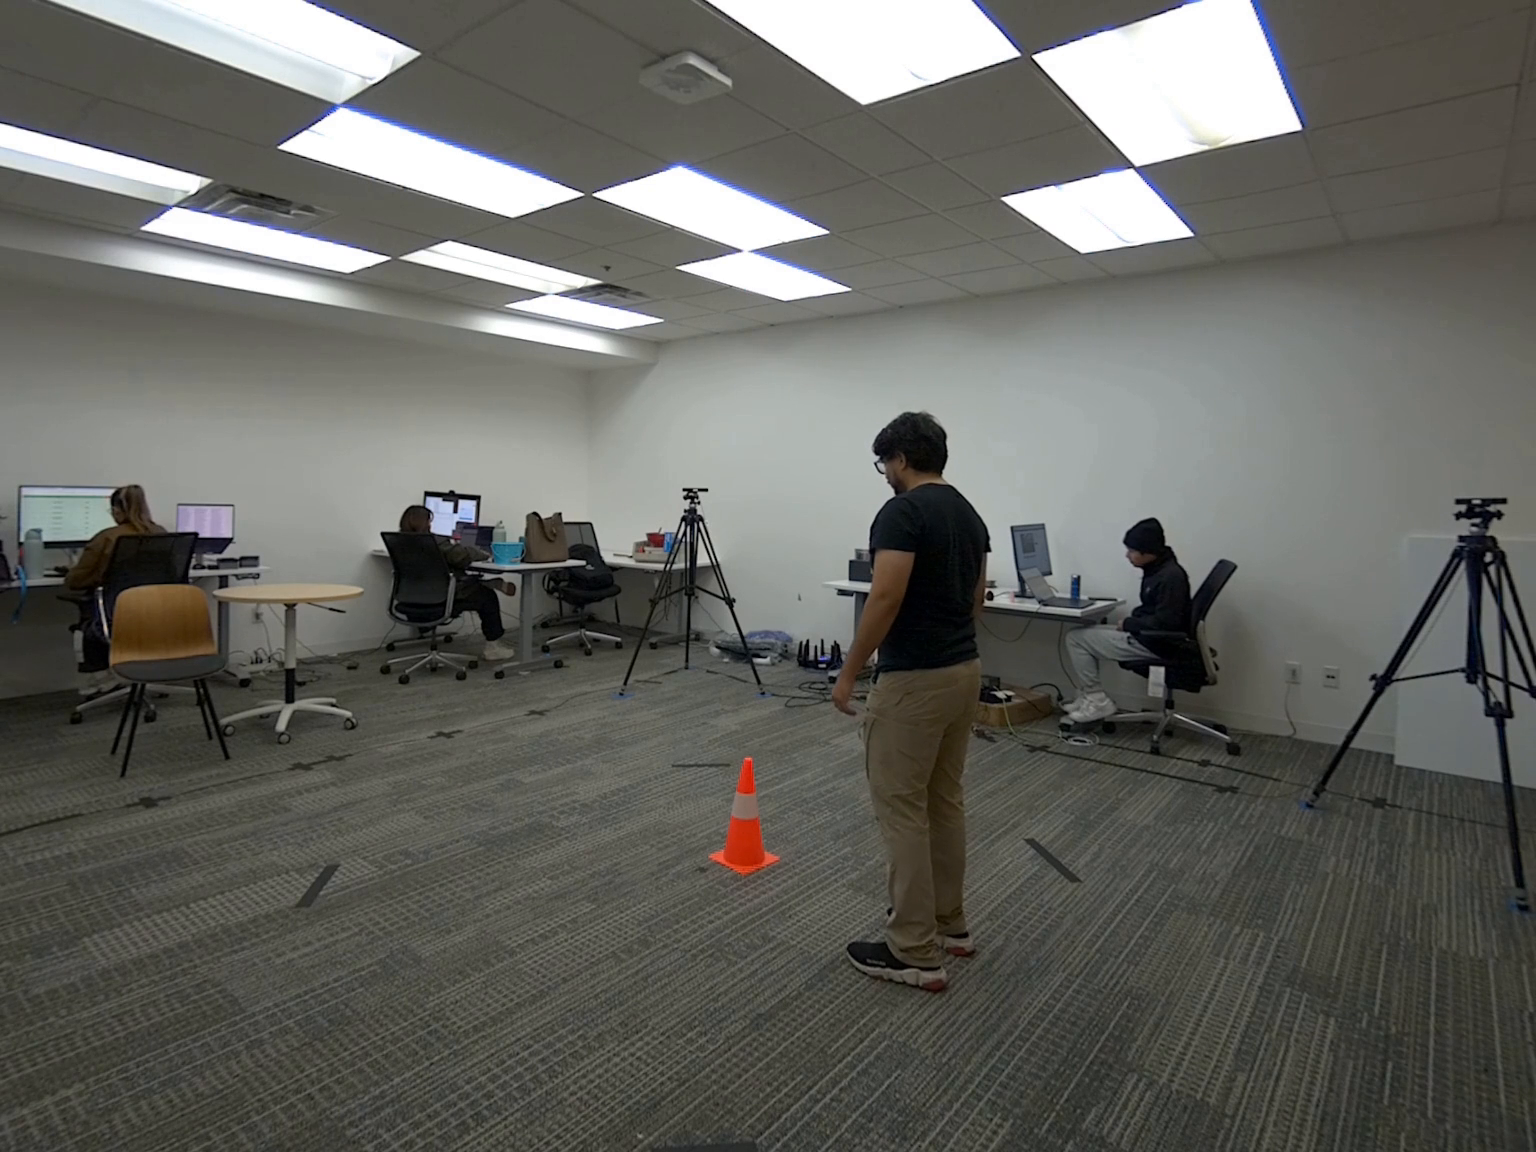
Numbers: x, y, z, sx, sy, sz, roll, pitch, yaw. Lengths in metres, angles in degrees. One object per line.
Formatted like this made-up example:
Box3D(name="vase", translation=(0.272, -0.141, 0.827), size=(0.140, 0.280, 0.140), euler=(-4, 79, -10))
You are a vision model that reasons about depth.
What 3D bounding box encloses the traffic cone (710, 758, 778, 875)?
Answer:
Box3D(name="traffic cone", translation=(-0.094, 0.878, 3.203), size=(0.197, 0.382, 0.212), euler=(-2, 5, -43))
